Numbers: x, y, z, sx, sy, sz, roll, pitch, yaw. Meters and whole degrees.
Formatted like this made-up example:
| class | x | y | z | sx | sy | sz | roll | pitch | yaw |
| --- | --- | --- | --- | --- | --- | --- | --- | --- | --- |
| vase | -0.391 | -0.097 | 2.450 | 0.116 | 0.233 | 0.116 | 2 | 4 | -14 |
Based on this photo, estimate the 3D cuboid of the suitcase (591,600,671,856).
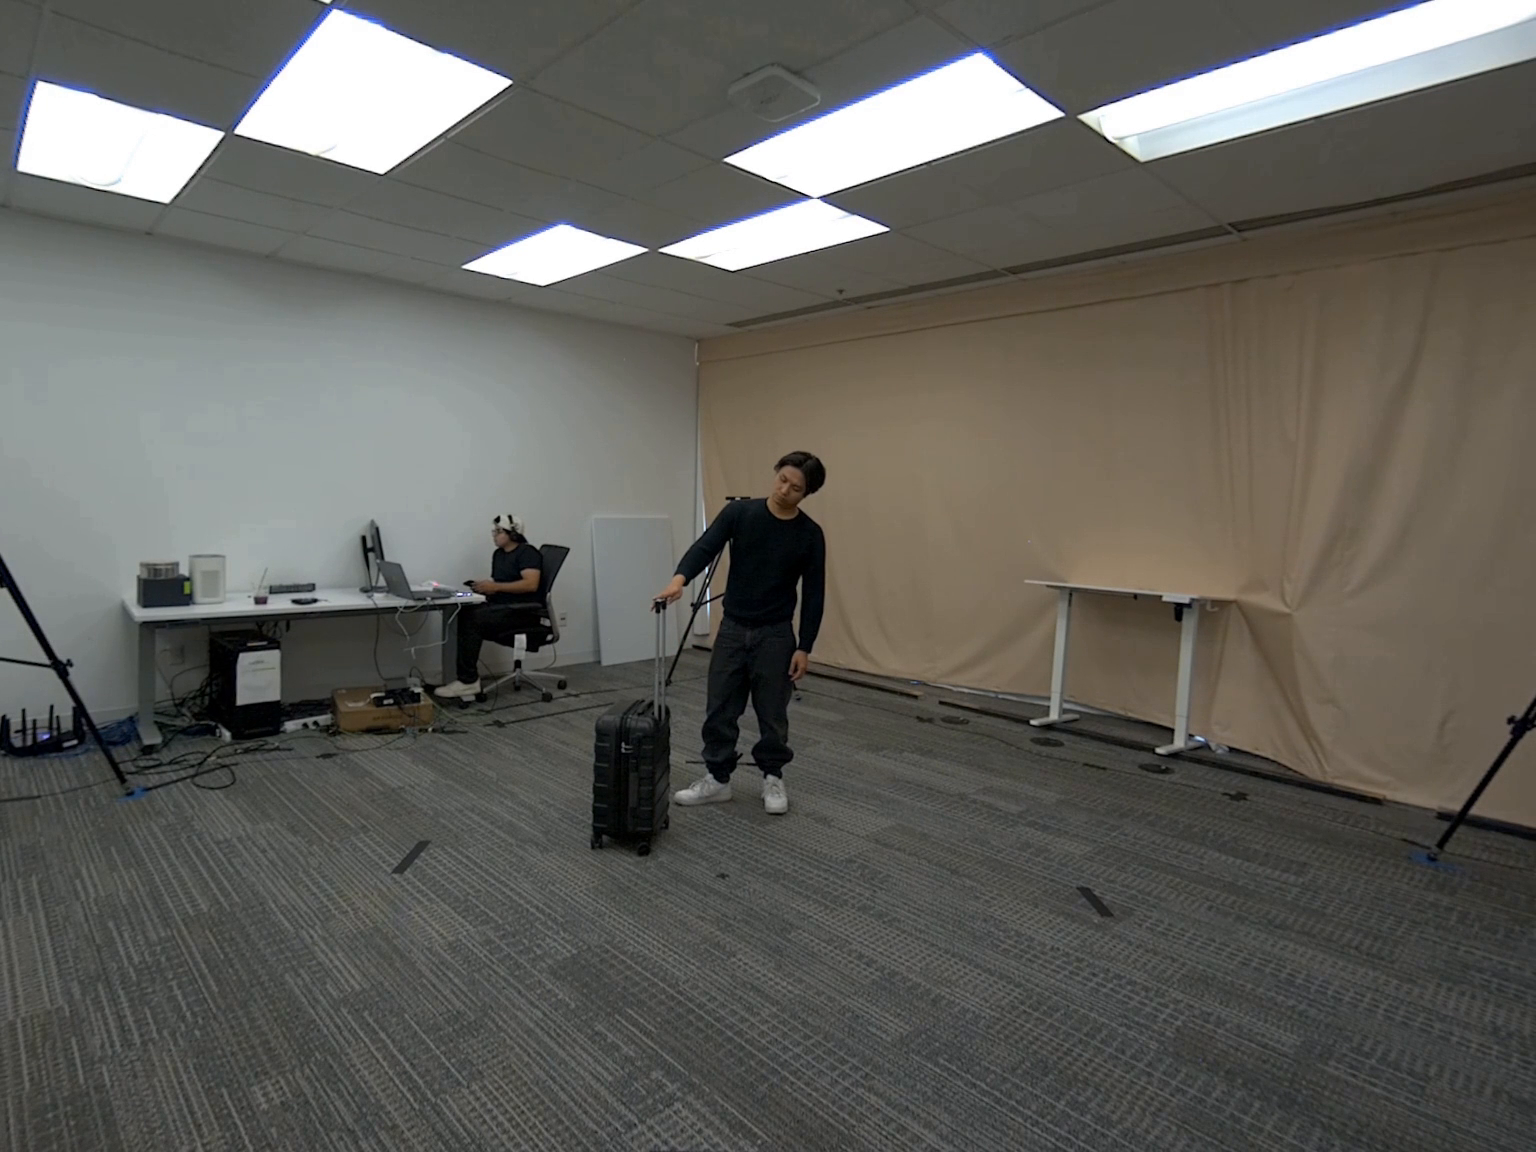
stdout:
| class | x | y | z | sx | sy | sz | roll | pitch | yaw |
| --- | --- | --- | --- | --- | --- | --- | --- | --- | --- |
| suitcase | -0.555 | 0.593 | 3.417 | 0.258 | 0.977 | 0.382 | 0 | 2 | 6 |
